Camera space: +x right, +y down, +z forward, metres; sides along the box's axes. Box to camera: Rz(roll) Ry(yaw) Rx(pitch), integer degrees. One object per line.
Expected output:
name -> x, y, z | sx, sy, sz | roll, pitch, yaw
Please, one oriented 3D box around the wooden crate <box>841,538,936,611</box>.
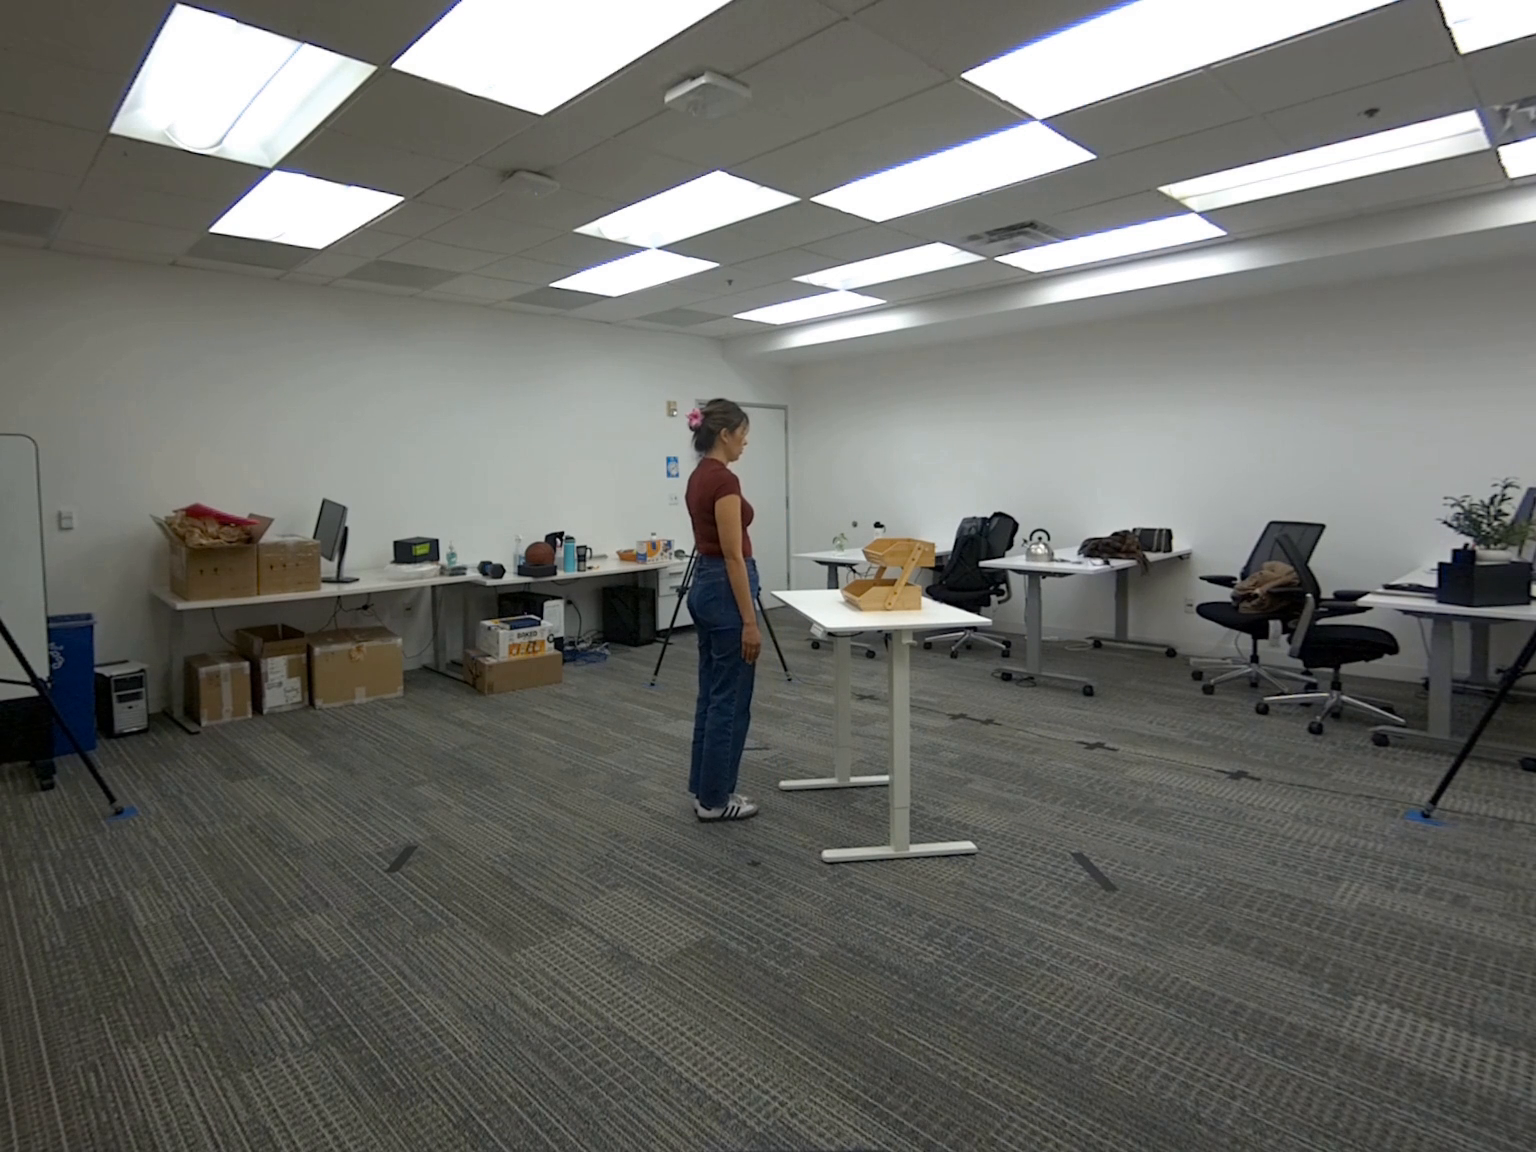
wooden crate -> 0.469, -0.013, 3.418 | 0.300, 0.272, 0.328 | -1, 5, -7
